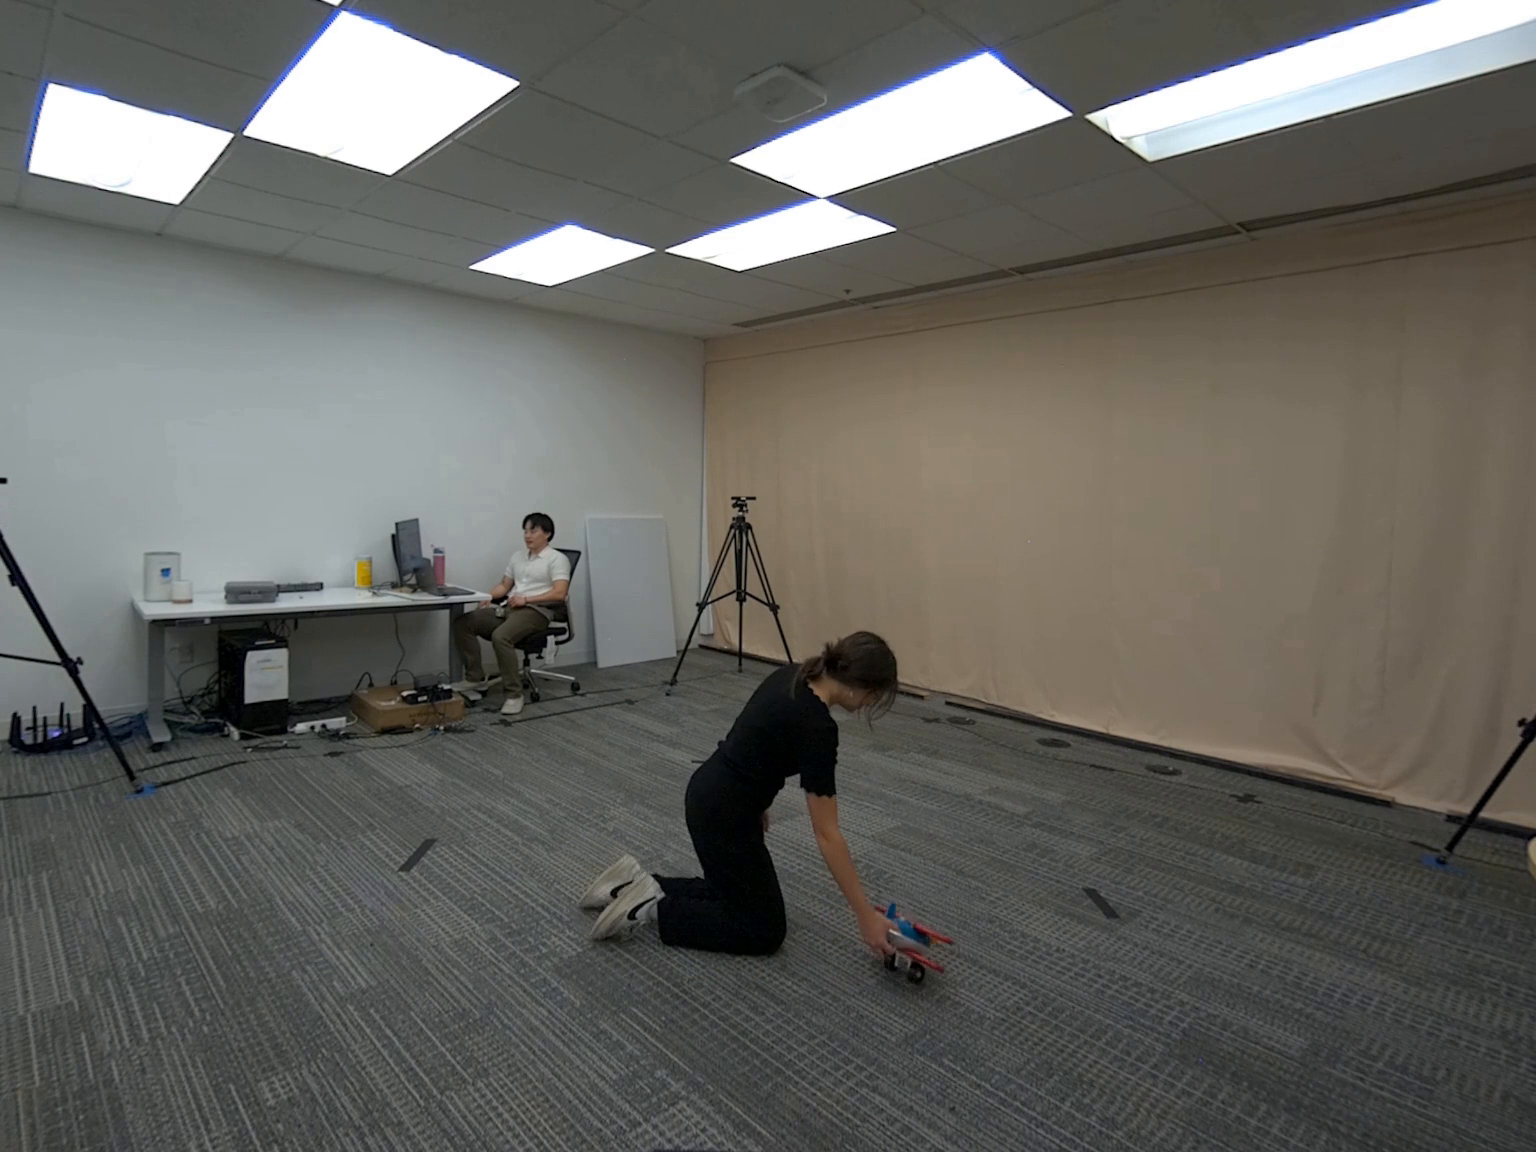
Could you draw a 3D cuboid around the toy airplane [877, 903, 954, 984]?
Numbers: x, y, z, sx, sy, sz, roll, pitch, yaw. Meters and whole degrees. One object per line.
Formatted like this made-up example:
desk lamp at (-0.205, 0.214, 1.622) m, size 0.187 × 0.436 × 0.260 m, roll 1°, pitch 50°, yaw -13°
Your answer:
toy airplane at (0.396, 1.065, 2.445) m, size 0.256 × 0.157 × 0.253 m, roll 26°, pitch -30°, yaw 20°
